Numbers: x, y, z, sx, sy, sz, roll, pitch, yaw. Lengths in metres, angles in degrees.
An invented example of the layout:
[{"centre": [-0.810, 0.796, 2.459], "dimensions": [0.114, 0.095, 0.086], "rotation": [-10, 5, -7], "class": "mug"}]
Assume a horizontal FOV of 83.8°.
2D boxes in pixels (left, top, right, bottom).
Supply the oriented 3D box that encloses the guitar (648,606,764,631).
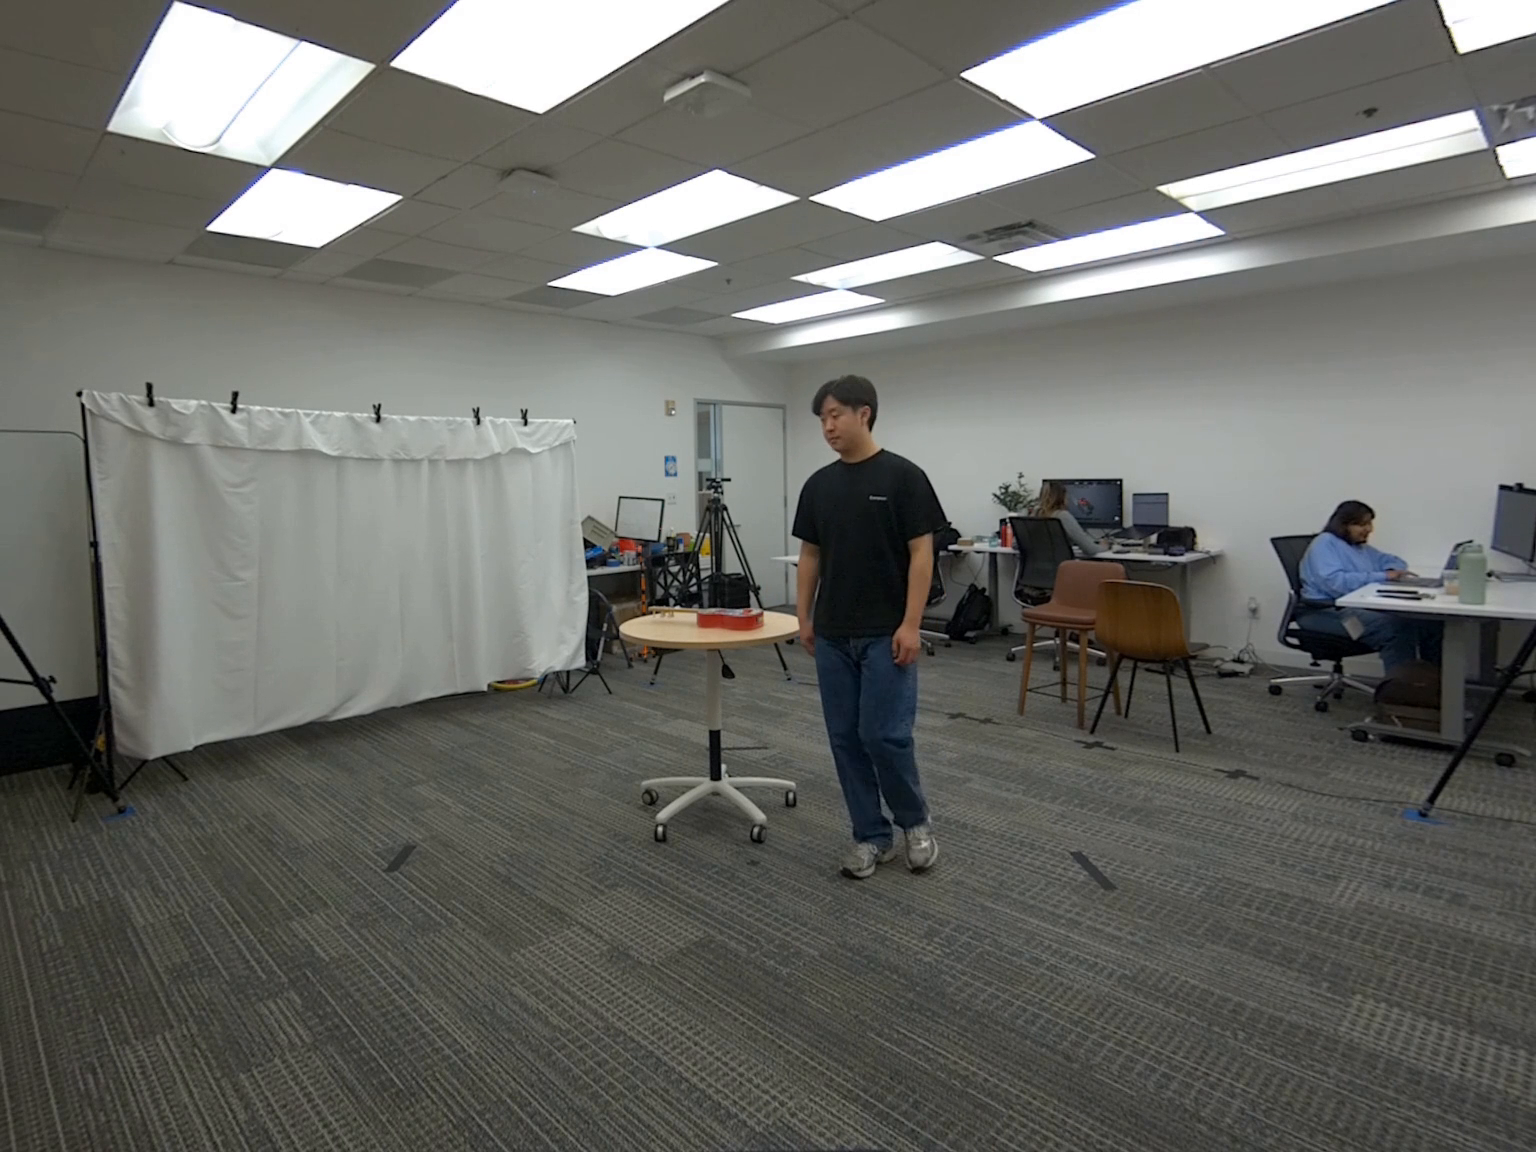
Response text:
[{"centre": [-0.250, 0.166, 3.561], "dimensions": [0.511, 0.070, 0.189], "rotation": [3, 7, 30], "class": "guitar"}]
